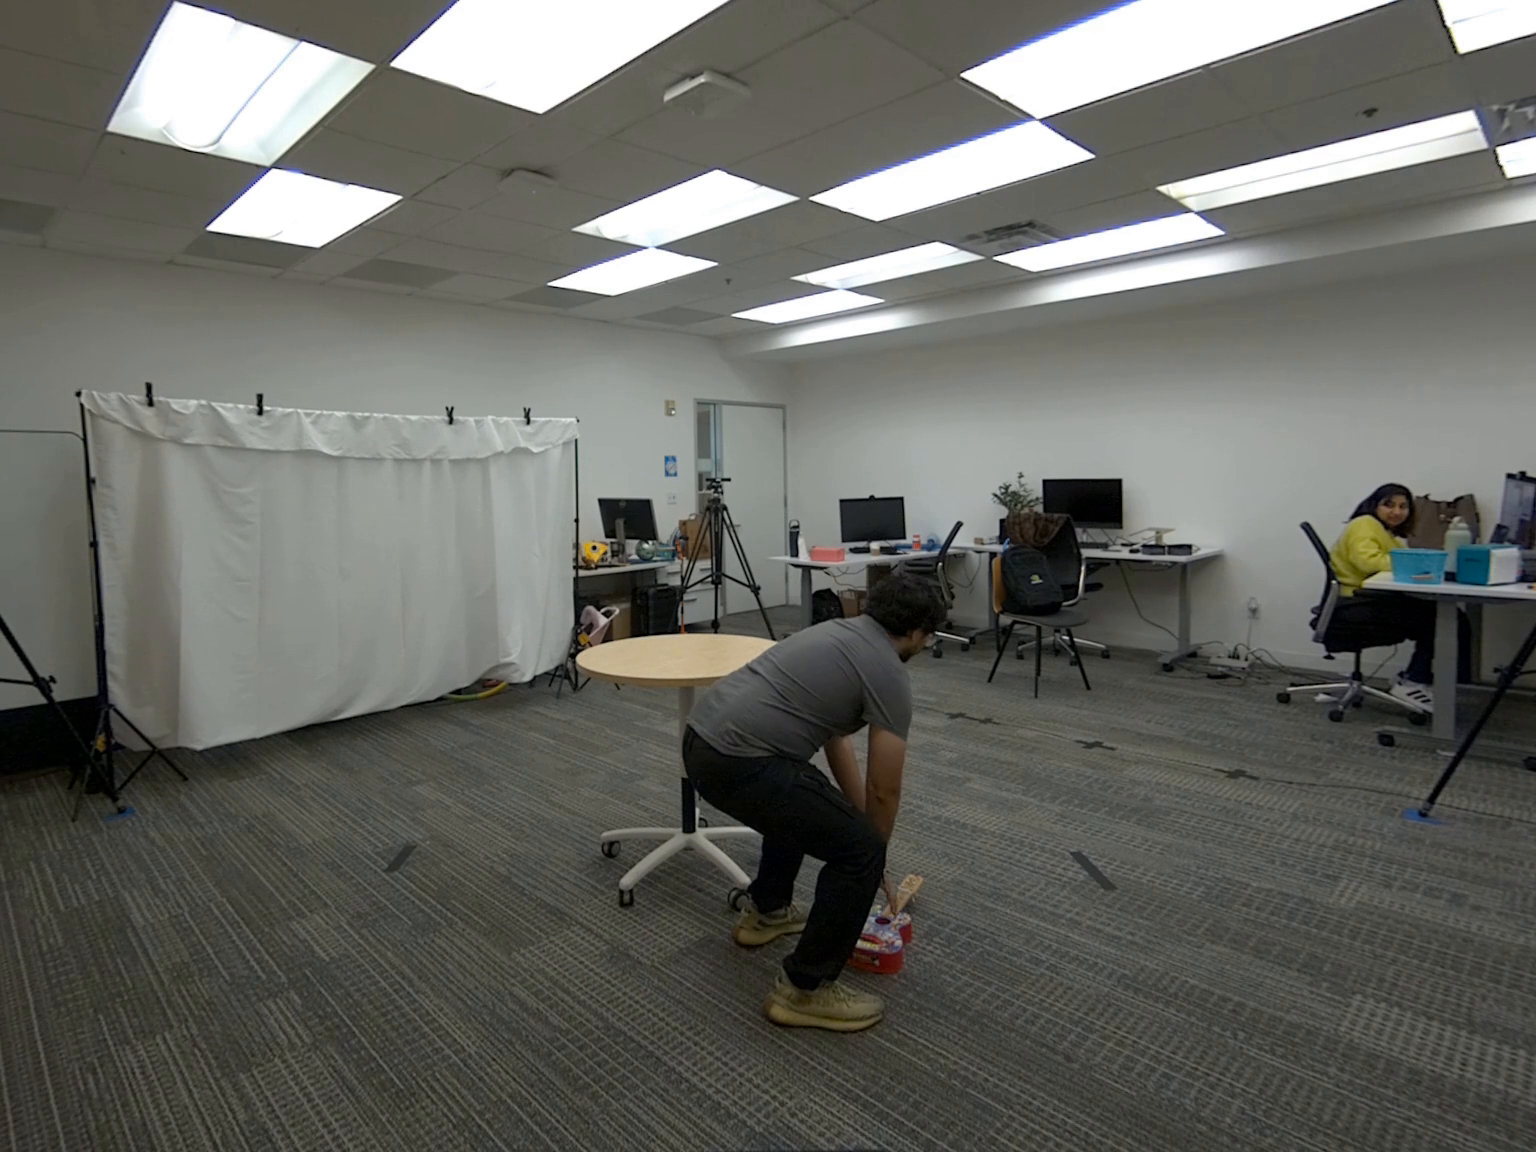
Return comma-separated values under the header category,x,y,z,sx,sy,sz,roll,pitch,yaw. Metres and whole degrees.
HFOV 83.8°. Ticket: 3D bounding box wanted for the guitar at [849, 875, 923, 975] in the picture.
category,x,y,z,sx,sy,sz,roll,pitch,yaw
guitar,0.409,1.057,2.616,0.199,0.070,0.486,5,10,36
